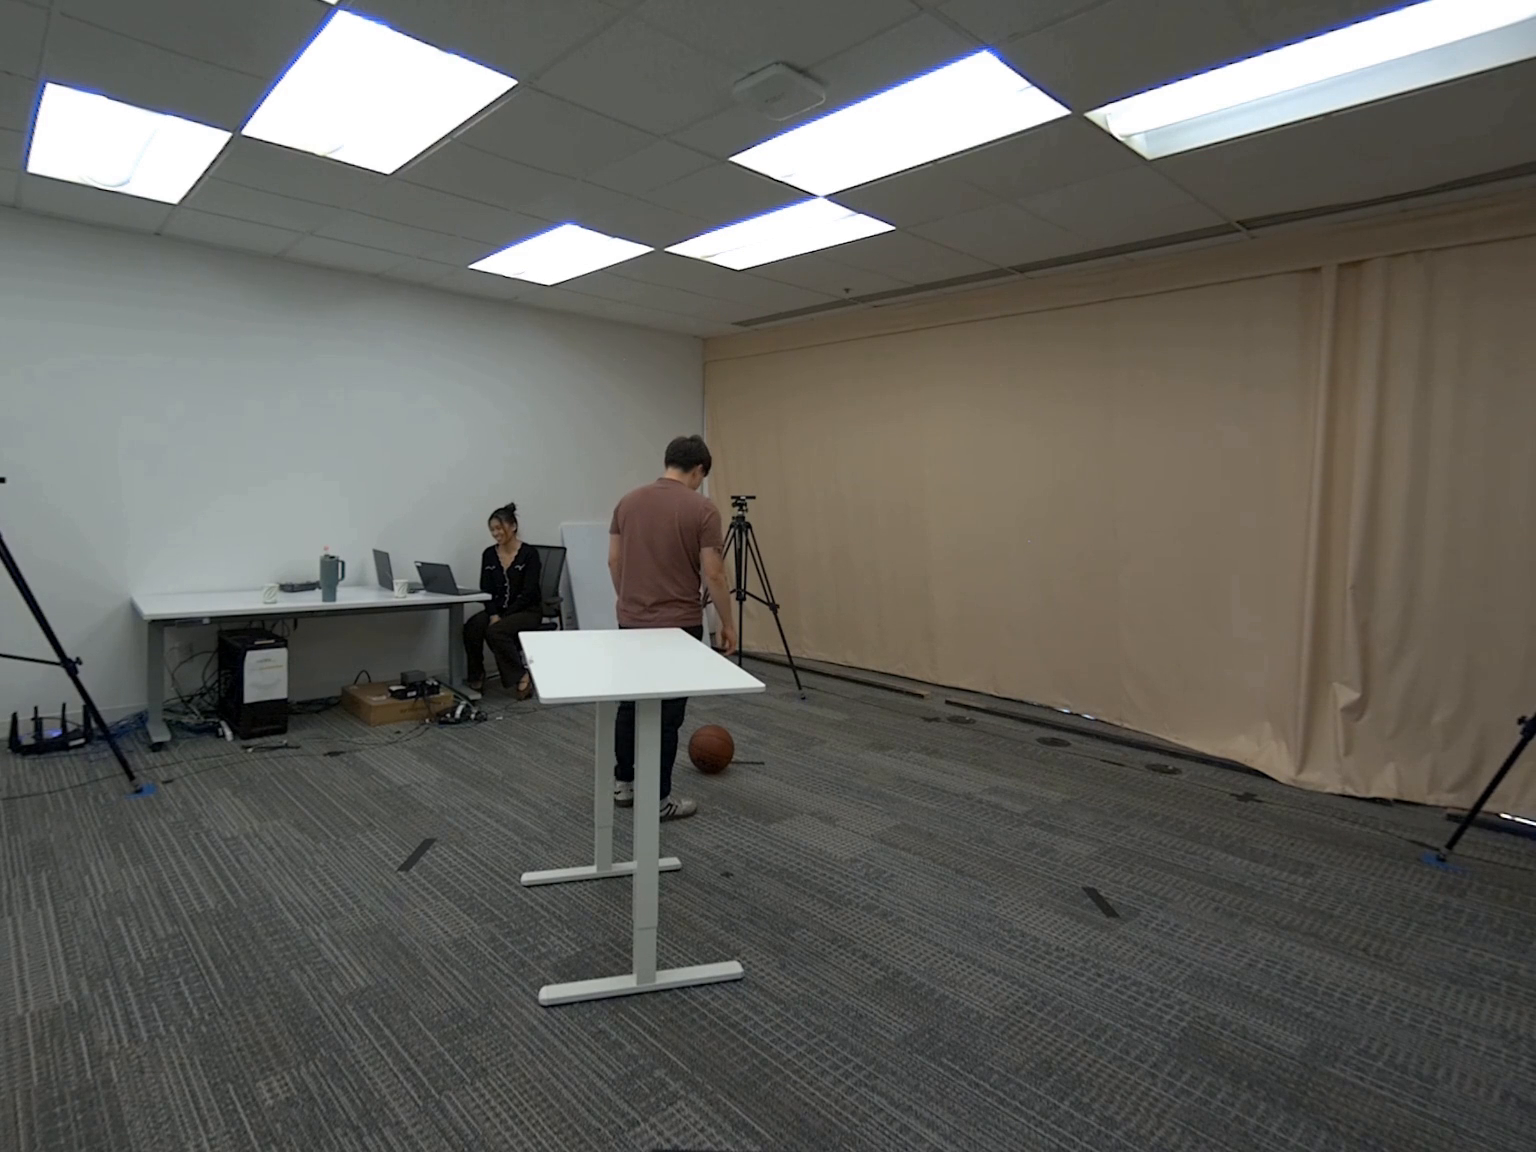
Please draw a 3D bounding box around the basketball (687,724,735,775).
[{"bbox_3d":[-0.299,0.873,4.287,0.236,0.235,0.237,1,4,-1],"label":"basketball"}]
